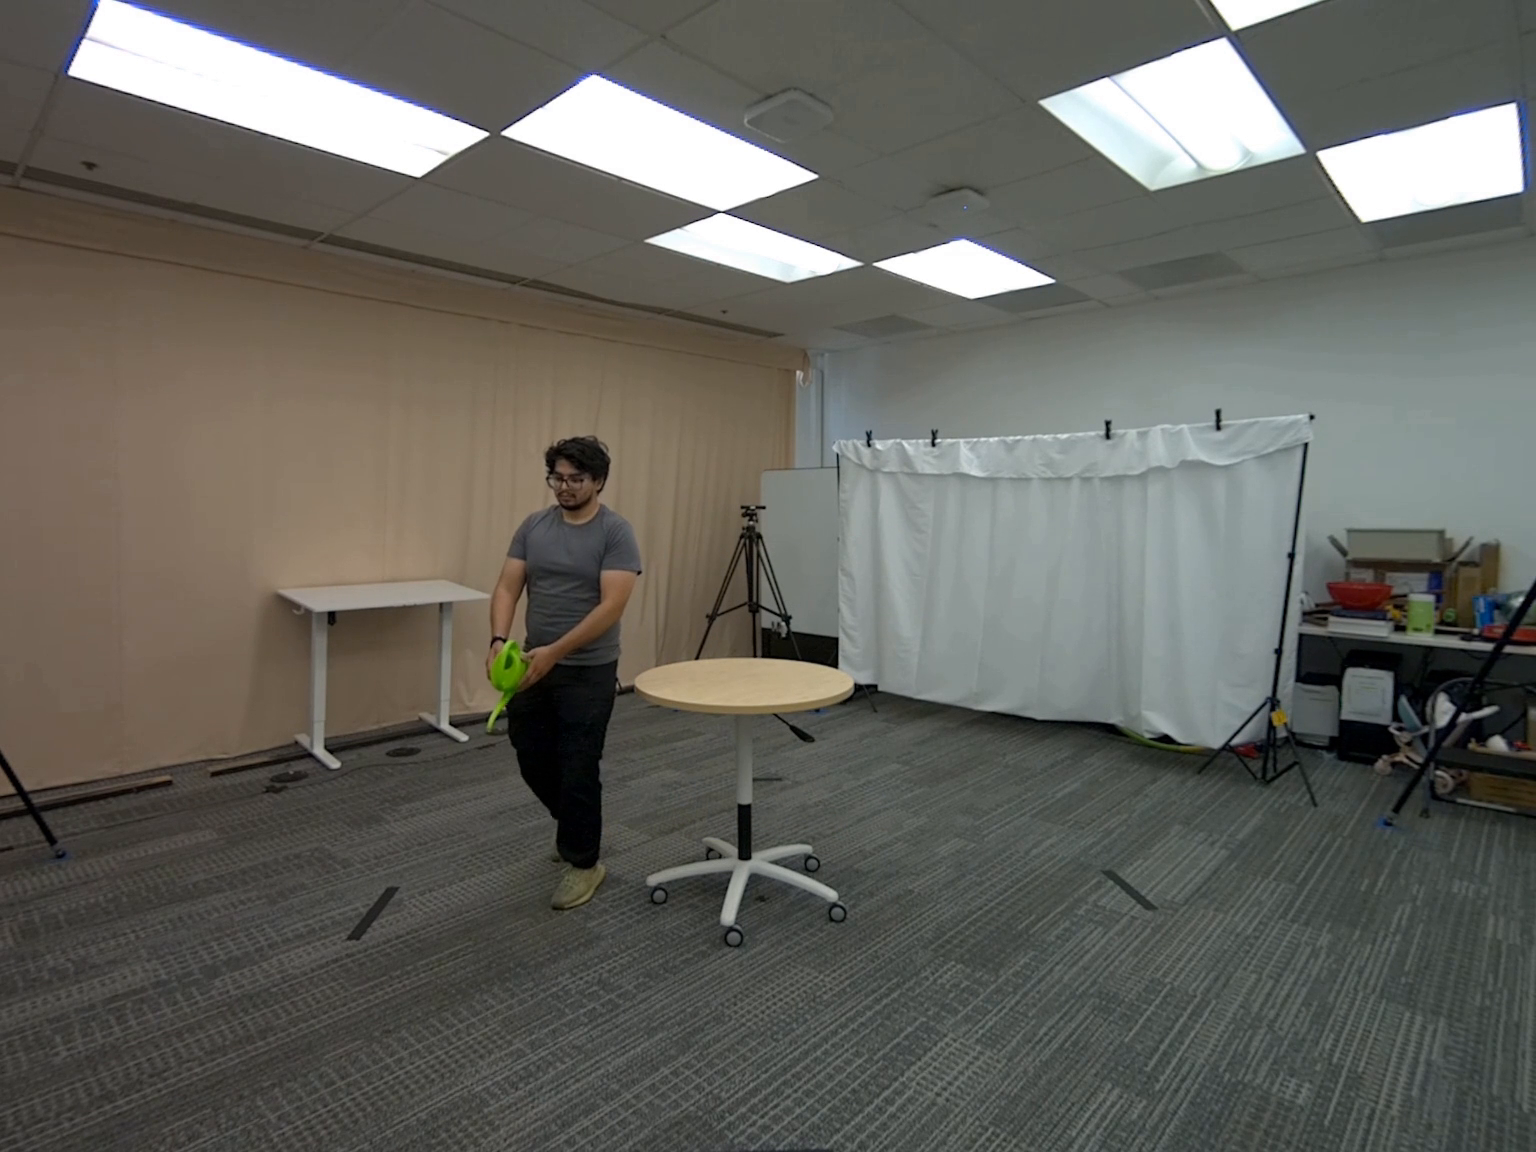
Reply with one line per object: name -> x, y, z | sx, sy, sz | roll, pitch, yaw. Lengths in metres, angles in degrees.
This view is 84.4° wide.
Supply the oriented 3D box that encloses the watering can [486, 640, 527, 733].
watering can -> -0.825, 0.340, 2.654 | 0.099, 0.279, 0.175 | 16, -8, 6
